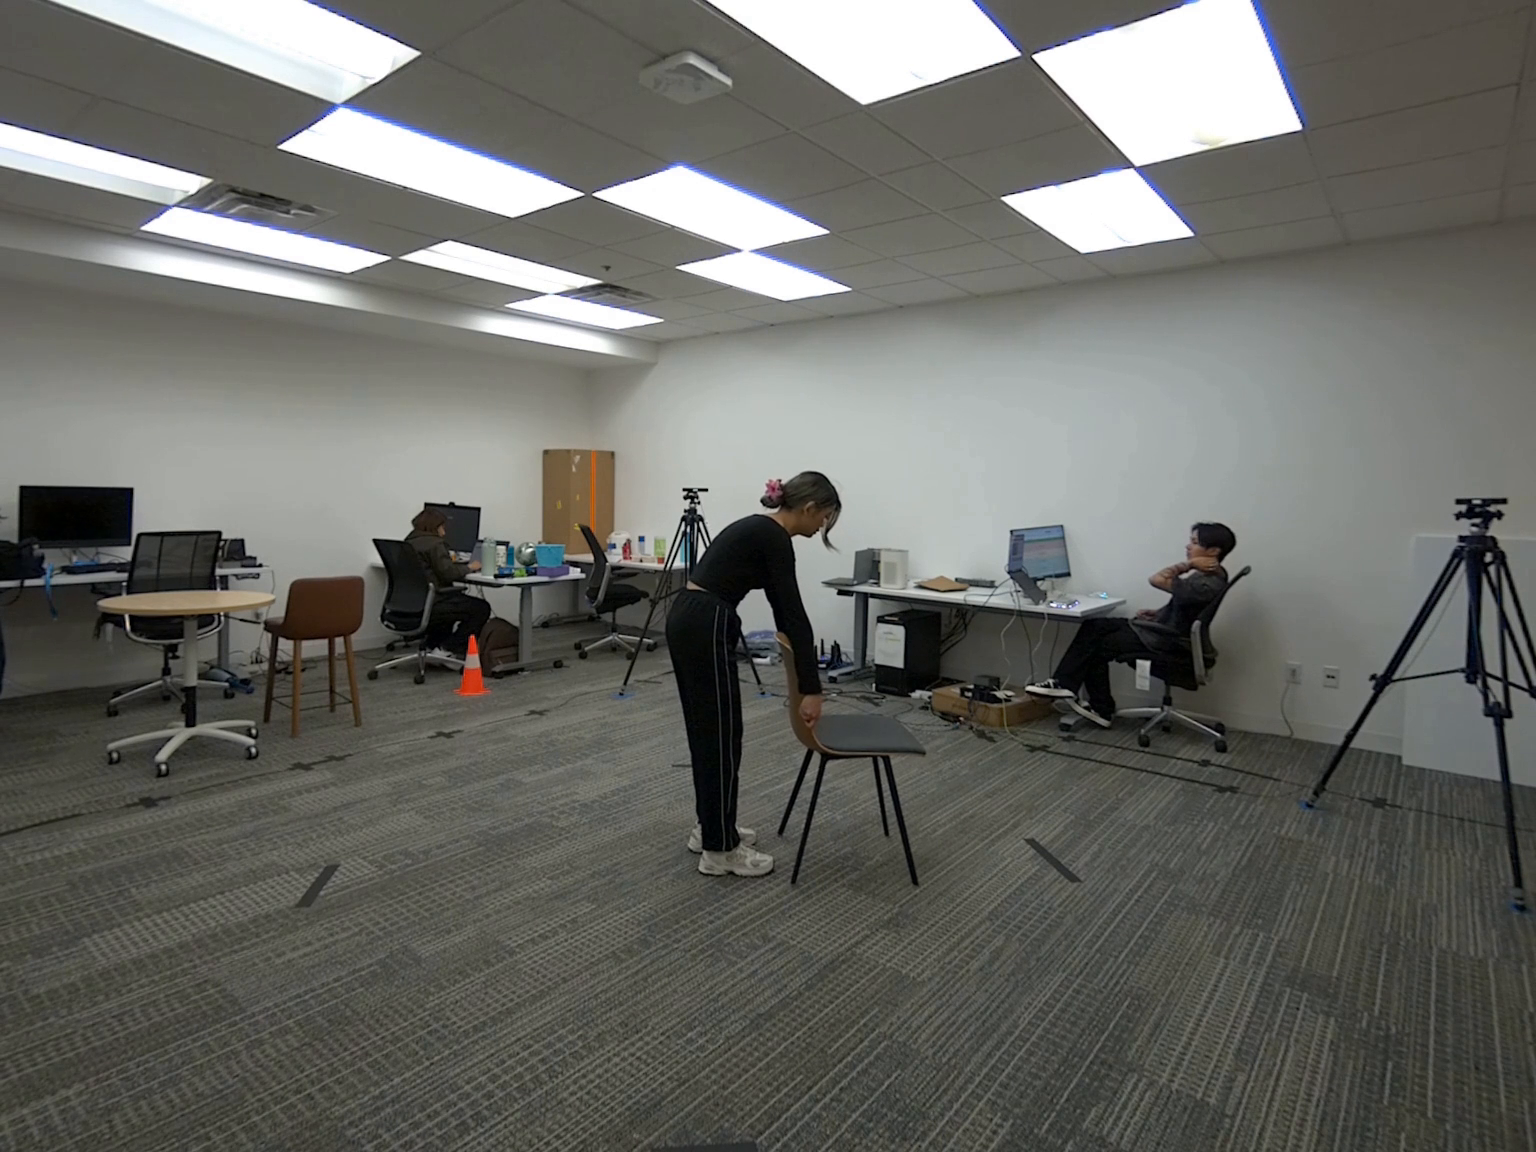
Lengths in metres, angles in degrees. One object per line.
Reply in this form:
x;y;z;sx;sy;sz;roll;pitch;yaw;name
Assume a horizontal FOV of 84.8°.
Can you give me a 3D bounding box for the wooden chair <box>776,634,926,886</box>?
0.299;0.642;3.206;0.521;0.875;0.481;-3;3;-4;wooden chair
